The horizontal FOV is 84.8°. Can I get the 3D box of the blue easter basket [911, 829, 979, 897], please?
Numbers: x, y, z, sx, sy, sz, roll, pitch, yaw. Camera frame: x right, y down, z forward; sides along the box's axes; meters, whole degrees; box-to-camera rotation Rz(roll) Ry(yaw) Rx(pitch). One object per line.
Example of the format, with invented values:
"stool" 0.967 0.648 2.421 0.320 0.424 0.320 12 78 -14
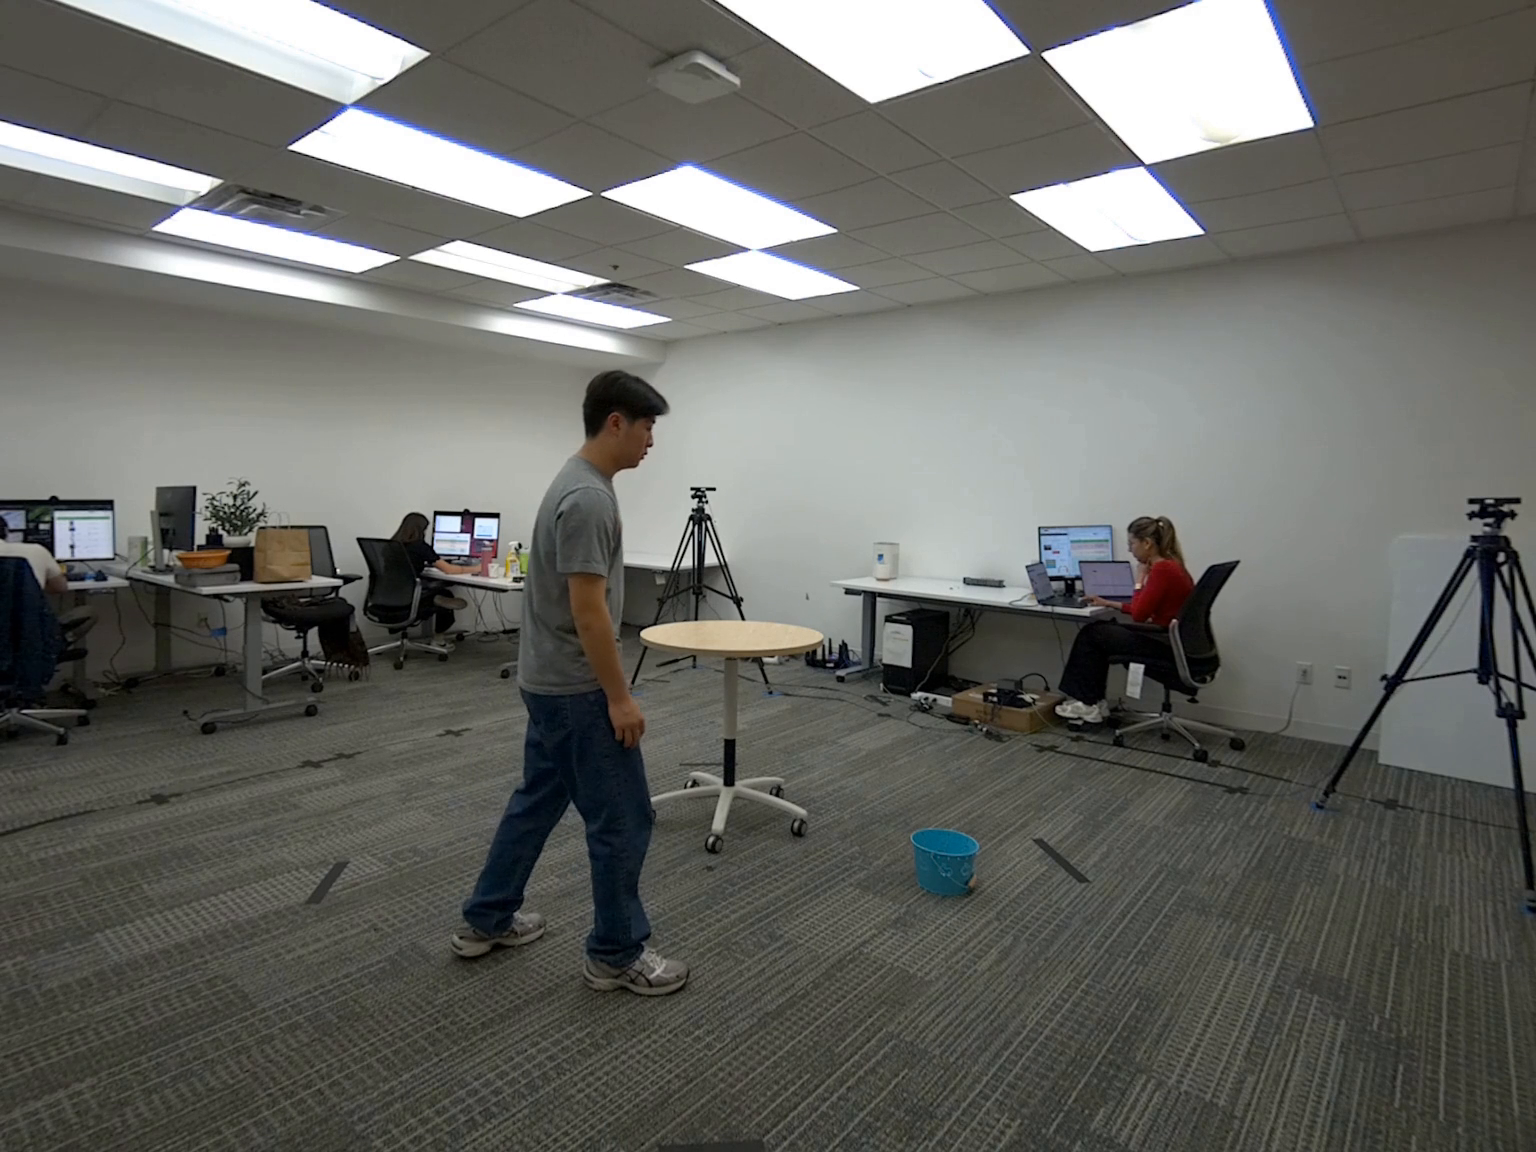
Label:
"blue easter basket" 0.620 1.016 3.023 0.243 0.155 0.245 1 5 -2
